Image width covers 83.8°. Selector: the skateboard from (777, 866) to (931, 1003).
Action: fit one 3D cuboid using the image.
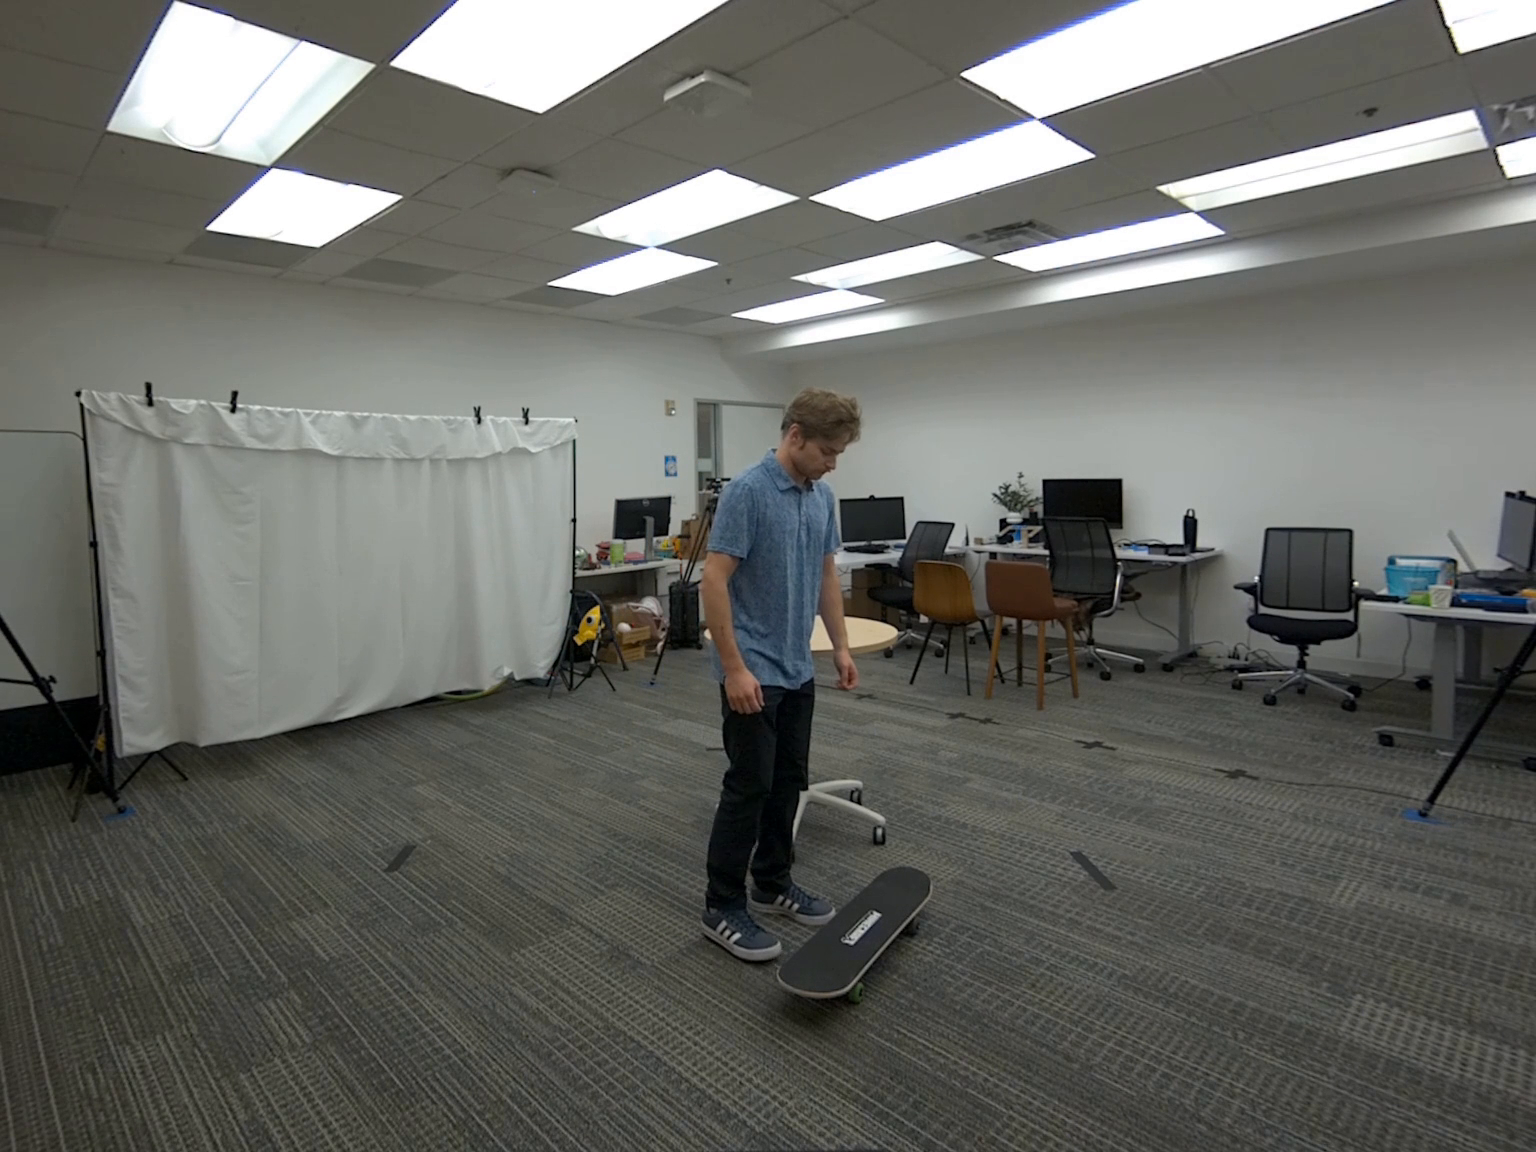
[{"bbox_3d":[0.278,1.048,2.486,0.199,0.110,0.768,3,8,32],"label":"skateboard"}]
